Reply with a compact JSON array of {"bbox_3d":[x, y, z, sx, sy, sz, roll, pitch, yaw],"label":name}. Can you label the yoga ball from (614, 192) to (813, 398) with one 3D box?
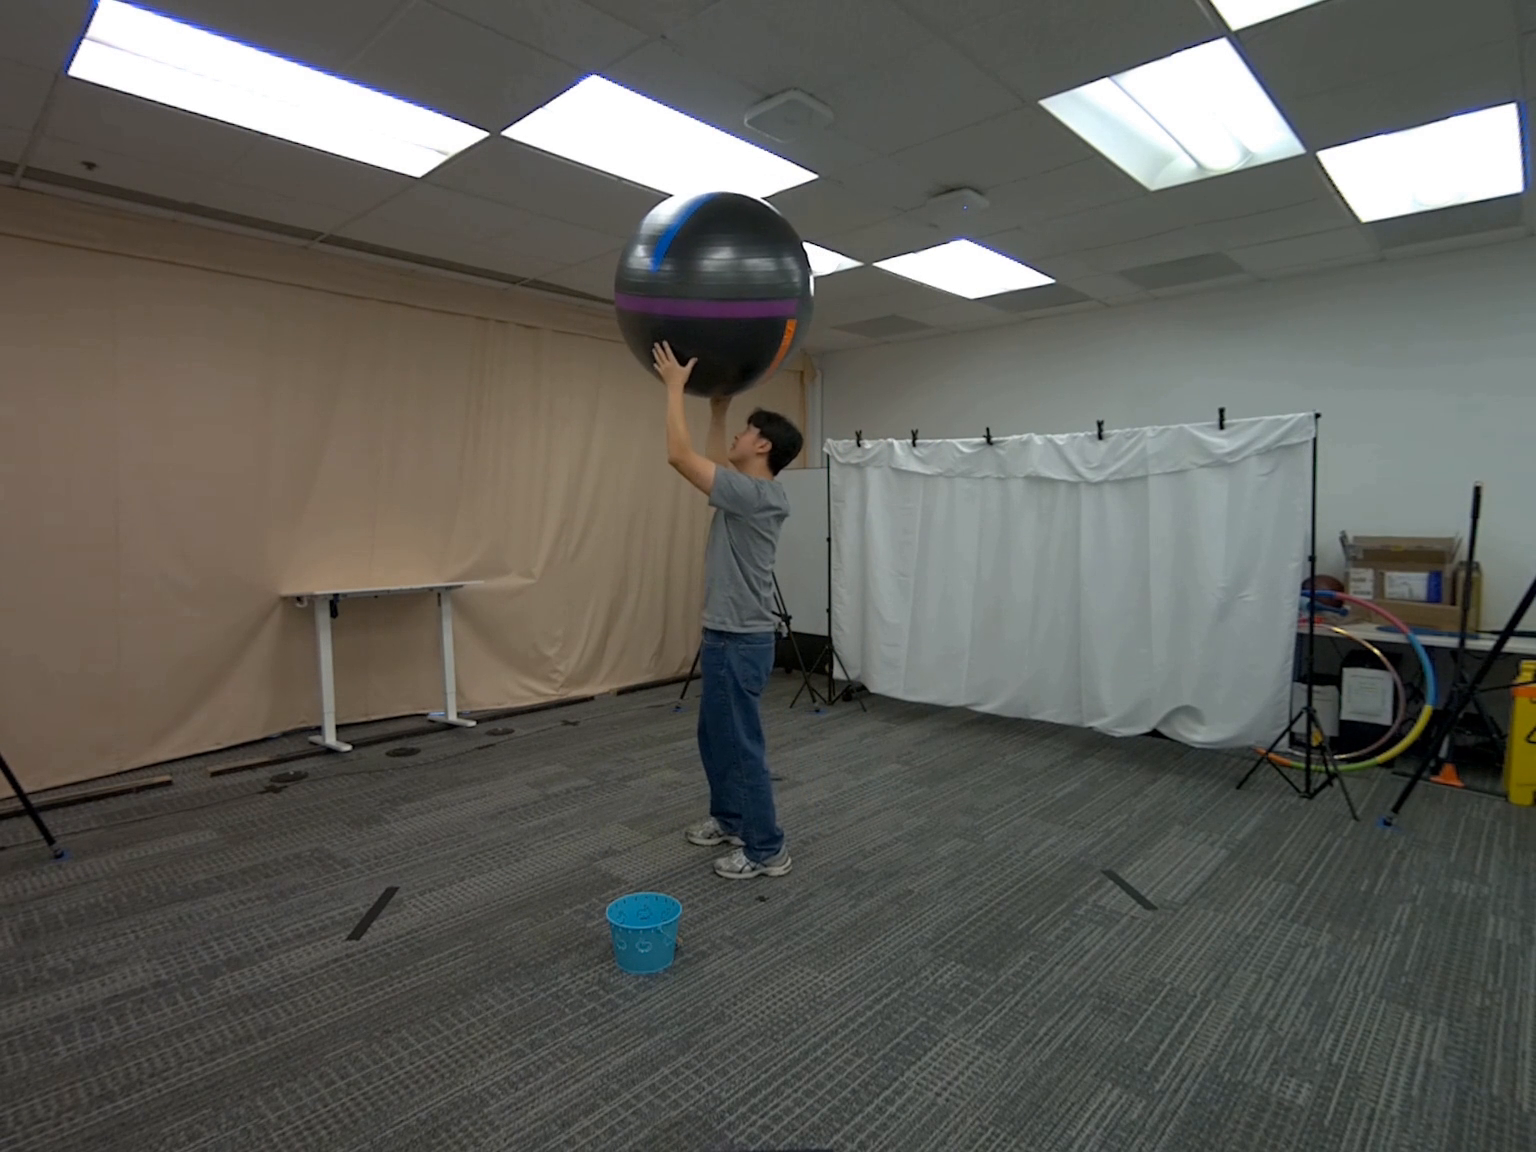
[{"bbox_3d":[-0.202,-1.064,3.204,0.757,0.756,0.761,0,4,-2],"label":"yoga ball"}]
